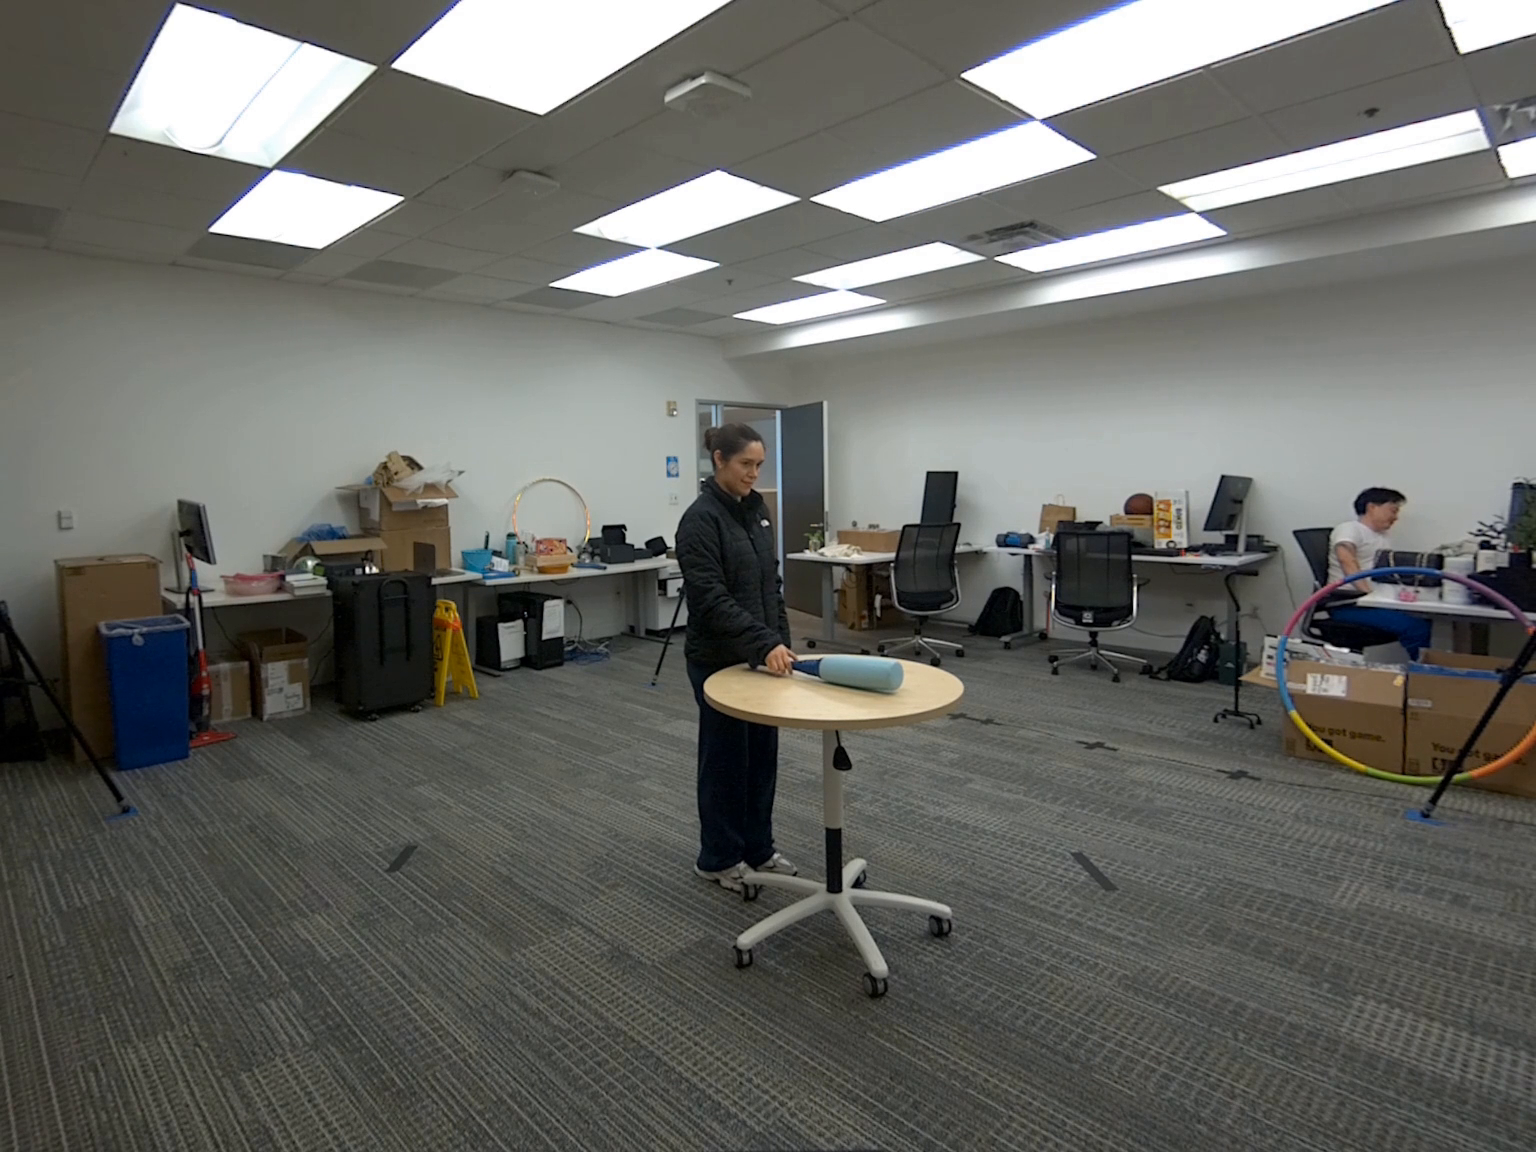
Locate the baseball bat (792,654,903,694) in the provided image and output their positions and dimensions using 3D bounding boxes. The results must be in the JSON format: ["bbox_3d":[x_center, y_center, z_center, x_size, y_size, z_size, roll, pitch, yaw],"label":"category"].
[{"bbox_3d":[0.161,0.280,2.598,0.559,0.089,0.087,1,5,42],"label":"baseball bat"}]
